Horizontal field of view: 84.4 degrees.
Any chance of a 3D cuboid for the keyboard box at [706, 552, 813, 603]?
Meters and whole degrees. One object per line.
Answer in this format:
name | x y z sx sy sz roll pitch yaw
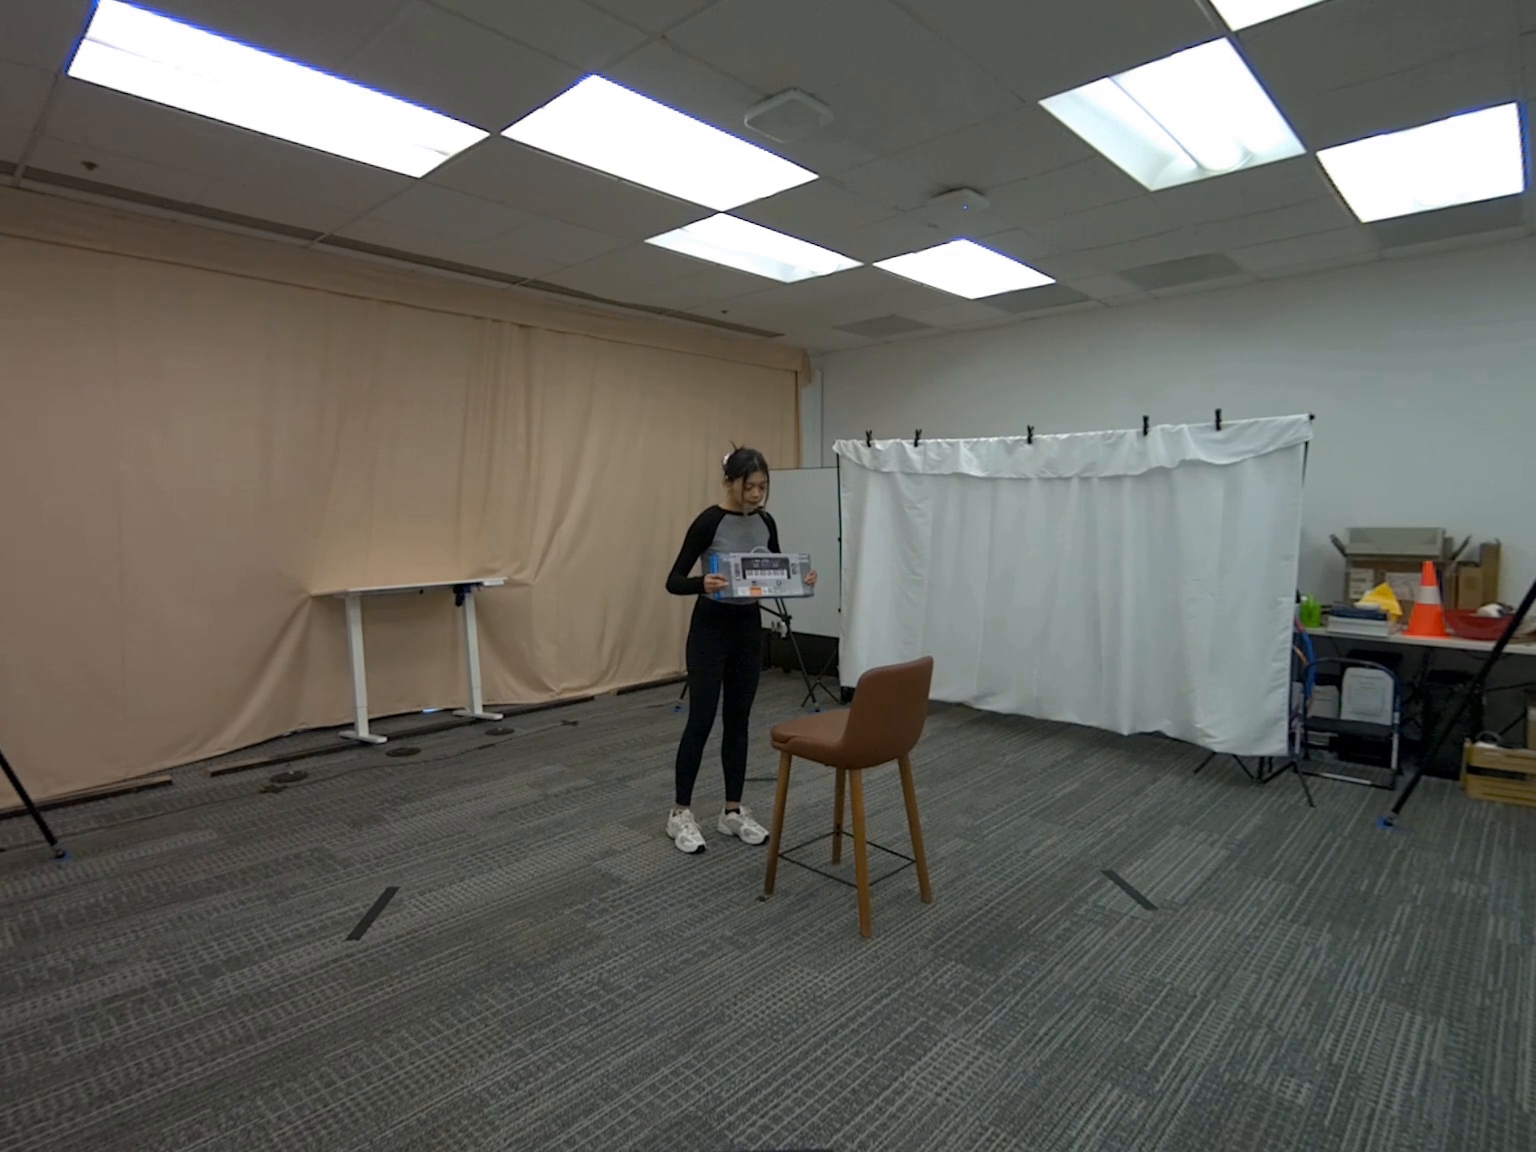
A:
keyboard box | 0.000 0.002 3.304 0.424 0.177 0.060 0 -11 -32
